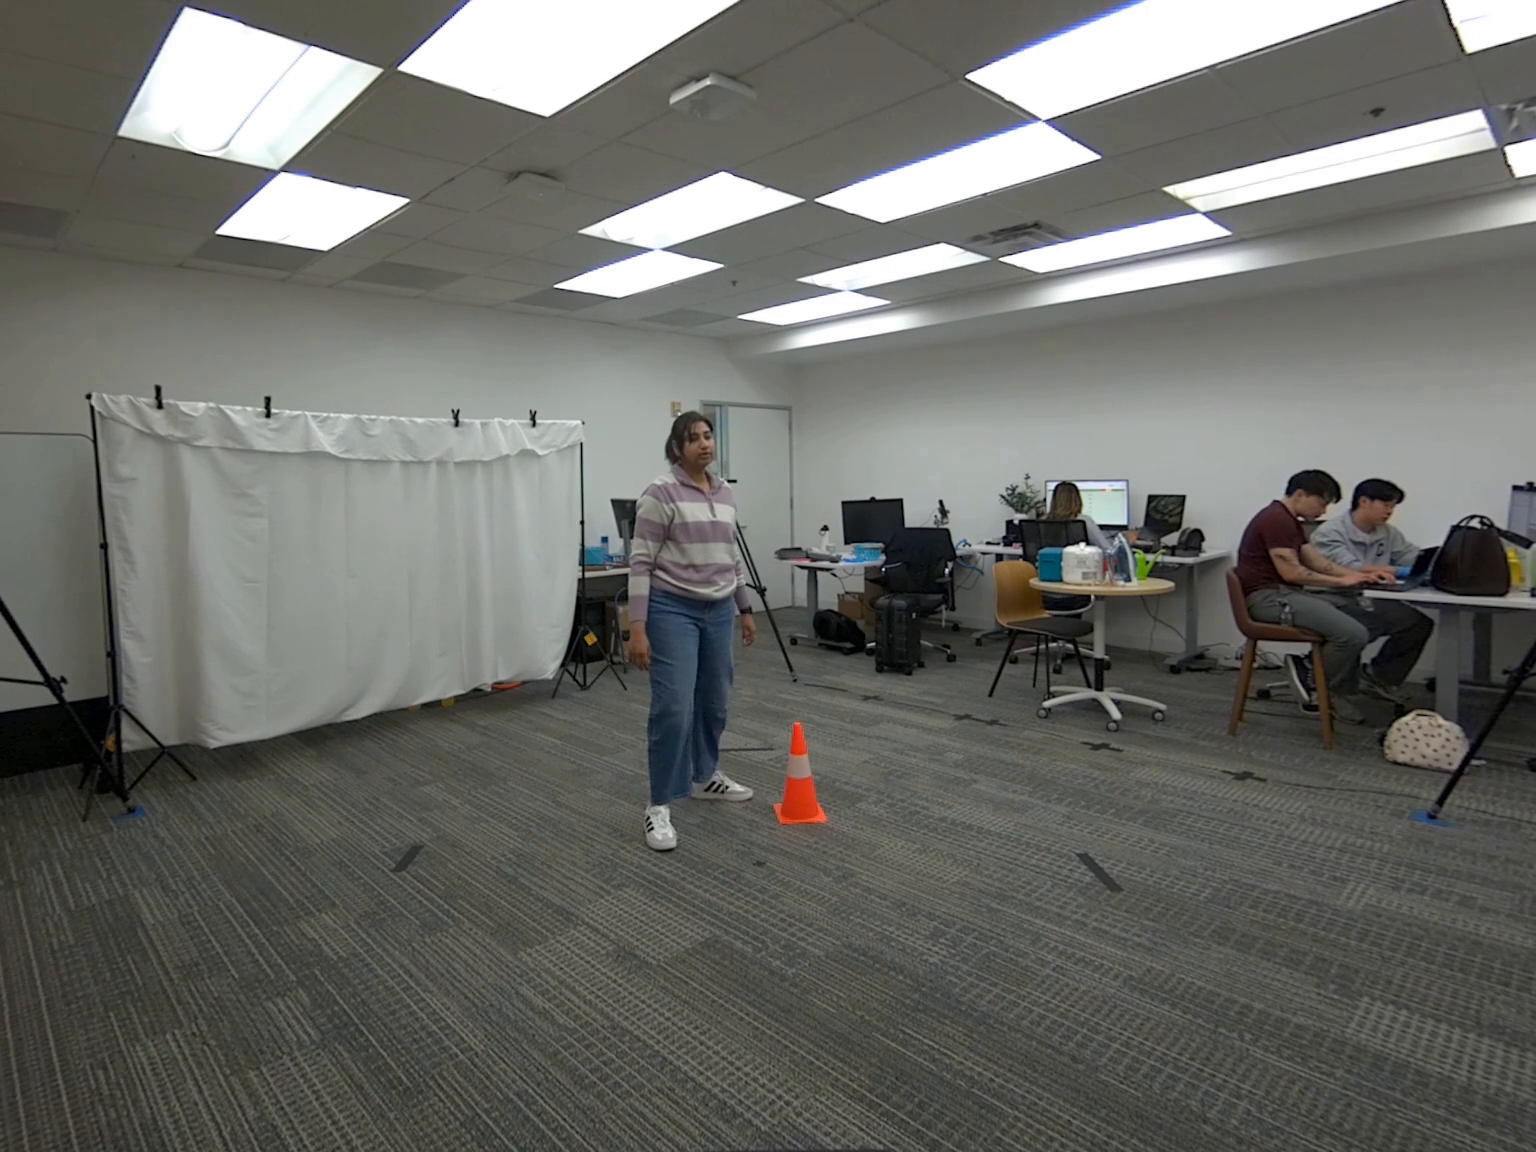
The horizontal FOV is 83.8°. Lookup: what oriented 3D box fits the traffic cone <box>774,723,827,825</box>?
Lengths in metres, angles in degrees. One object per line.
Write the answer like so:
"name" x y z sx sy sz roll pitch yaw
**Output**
"traffic cone" 0.135 0.808 3.562 0.204 0.381 0.206 -2 6 -6
